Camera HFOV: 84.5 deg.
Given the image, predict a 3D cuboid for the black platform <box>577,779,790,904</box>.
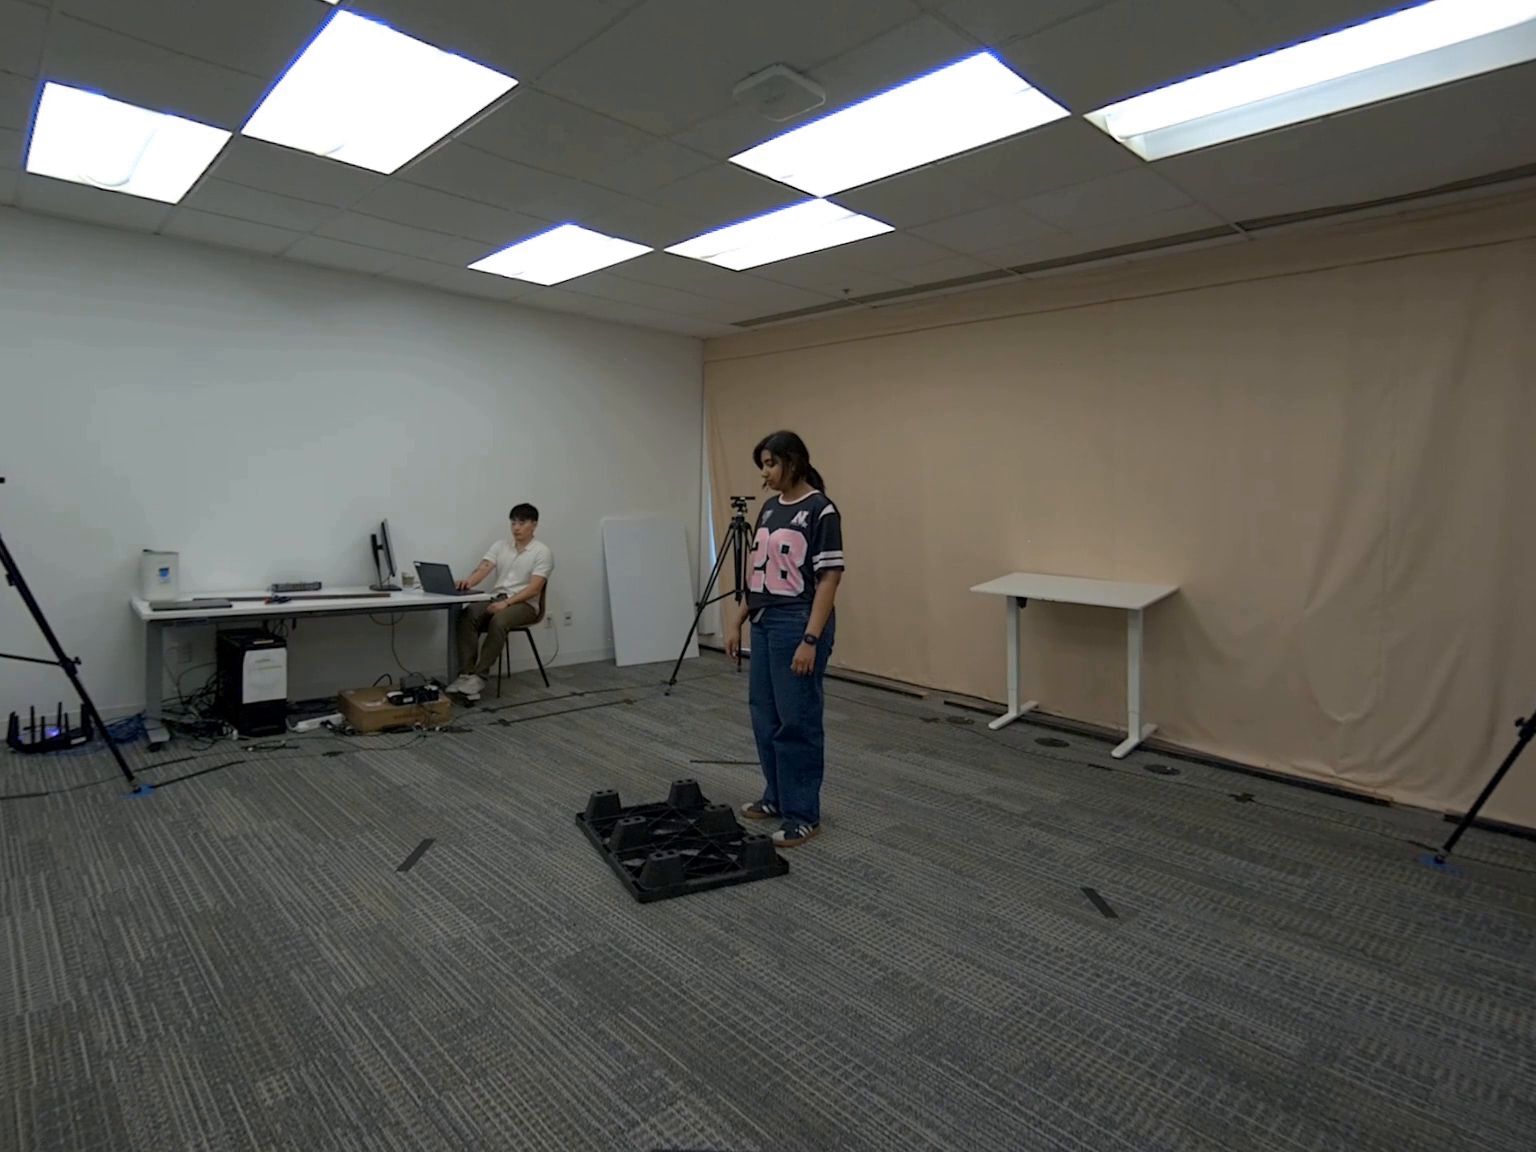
[{"bbox_3d":[-0.368,1.013,3.341,0.593,0.143,0.823,-2,6,-28],"label":"black platform"}]
